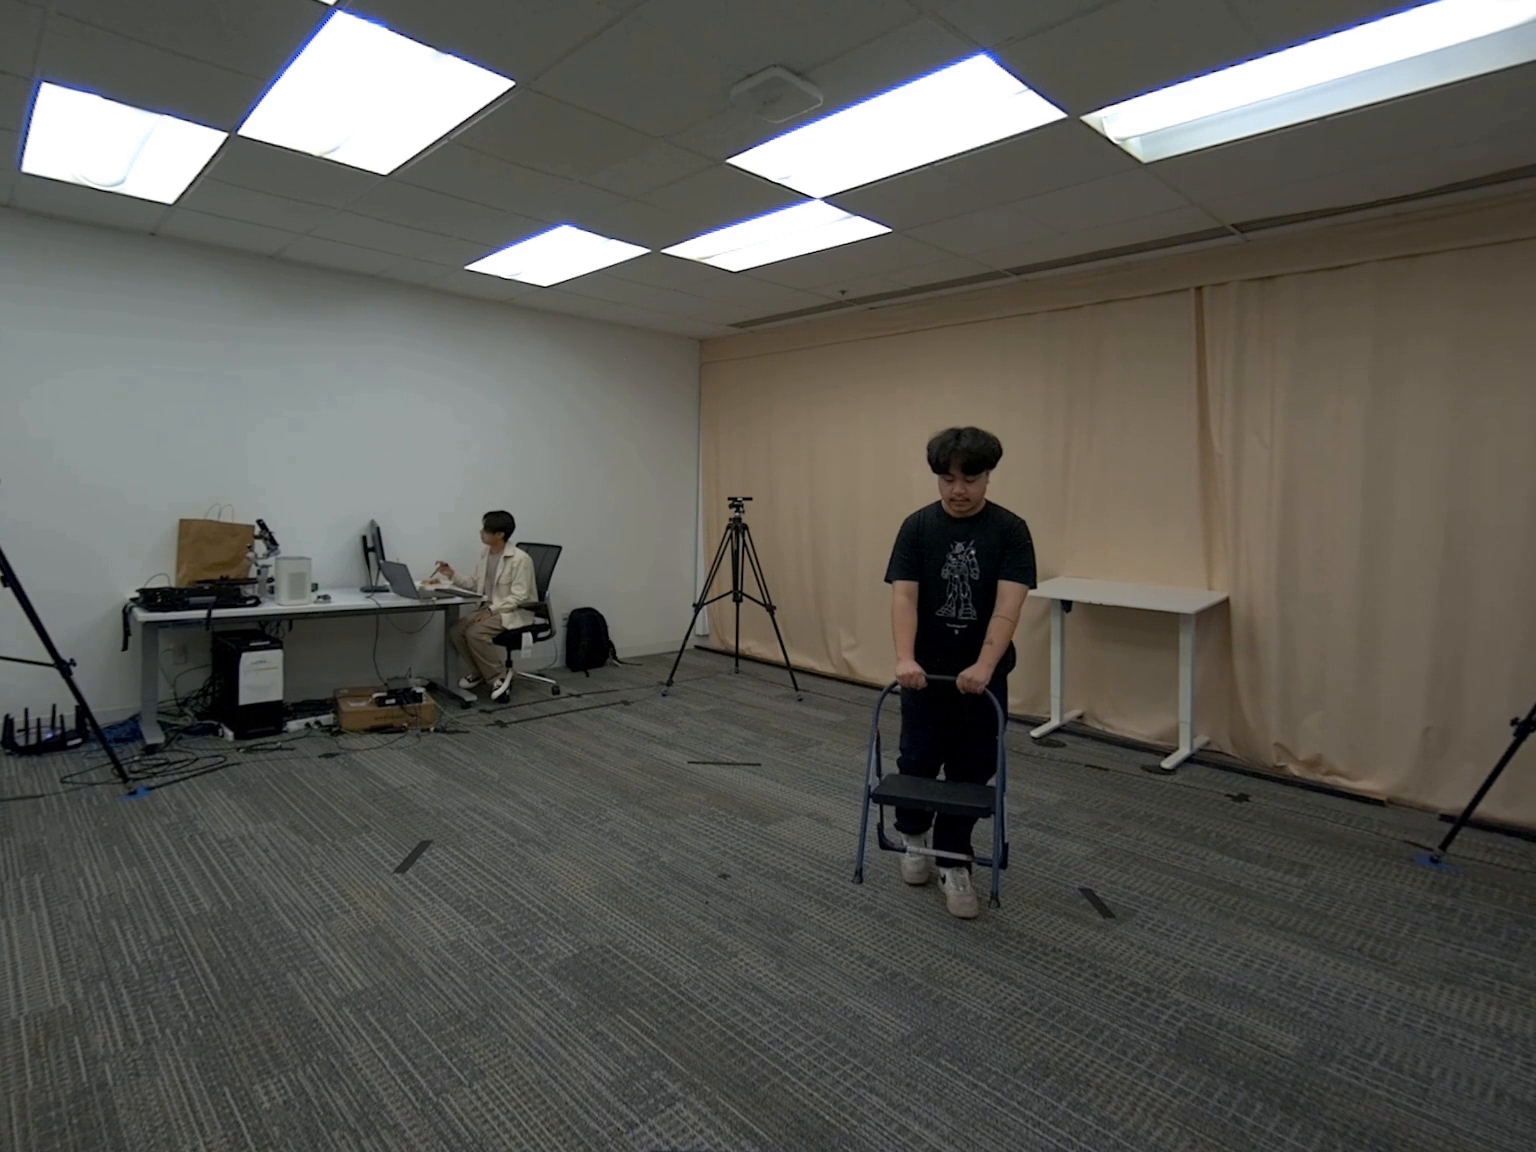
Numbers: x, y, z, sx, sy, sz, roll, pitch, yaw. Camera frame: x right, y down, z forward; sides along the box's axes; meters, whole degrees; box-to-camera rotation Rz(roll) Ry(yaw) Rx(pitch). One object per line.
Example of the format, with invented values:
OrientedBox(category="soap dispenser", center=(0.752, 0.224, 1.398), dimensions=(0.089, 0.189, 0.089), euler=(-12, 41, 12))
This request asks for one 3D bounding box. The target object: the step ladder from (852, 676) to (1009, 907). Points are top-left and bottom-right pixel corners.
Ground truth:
OrientedBox(category="step ladder", center=(0.515, 0.633, 2.614), dimensions=(0.438, 0.606, 0.343), euler=(1, 0, 22))
